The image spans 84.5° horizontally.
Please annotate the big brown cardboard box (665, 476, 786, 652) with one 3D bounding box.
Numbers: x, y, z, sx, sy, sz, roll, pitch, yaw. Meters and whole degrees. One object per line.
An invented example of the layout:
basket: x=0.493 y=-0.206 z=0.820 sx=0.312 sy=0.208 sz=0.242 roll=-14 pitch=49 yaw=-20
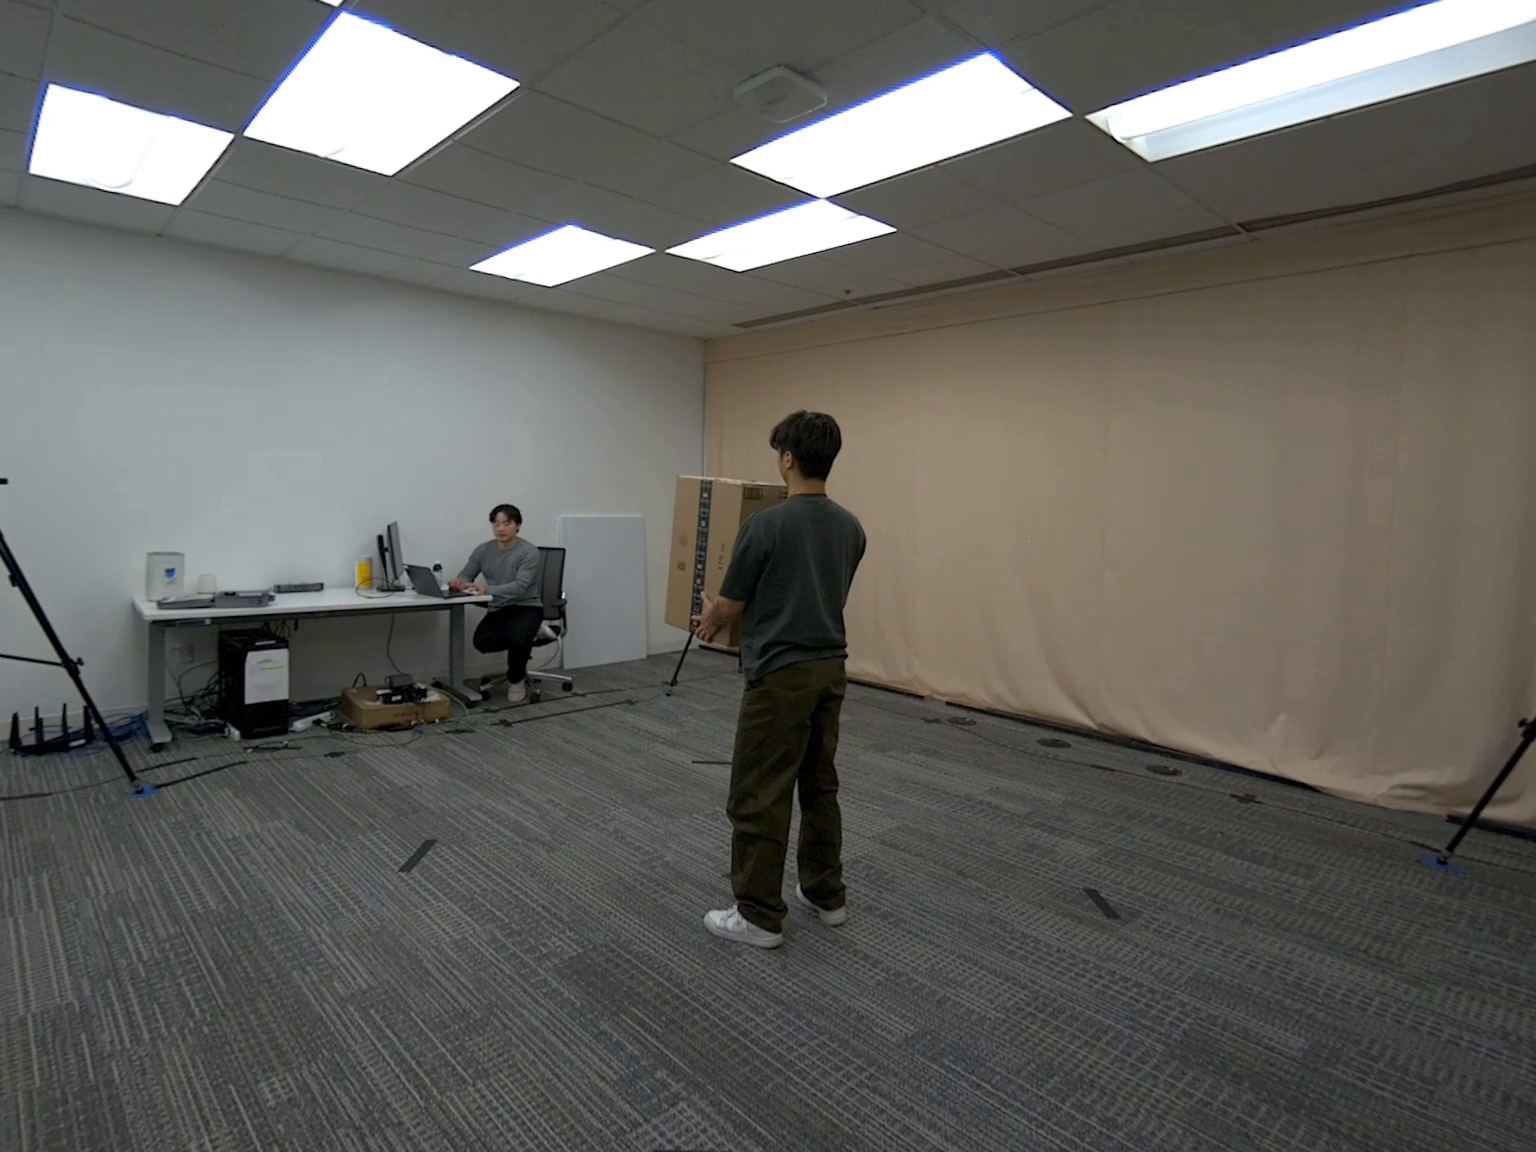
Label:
big brown cardboard box: x=-0.163 y=-0.071 z=3.079 sx=0.228 sy=0.586 sz=0.429 roll=1 pitch=8 yaw=-38
